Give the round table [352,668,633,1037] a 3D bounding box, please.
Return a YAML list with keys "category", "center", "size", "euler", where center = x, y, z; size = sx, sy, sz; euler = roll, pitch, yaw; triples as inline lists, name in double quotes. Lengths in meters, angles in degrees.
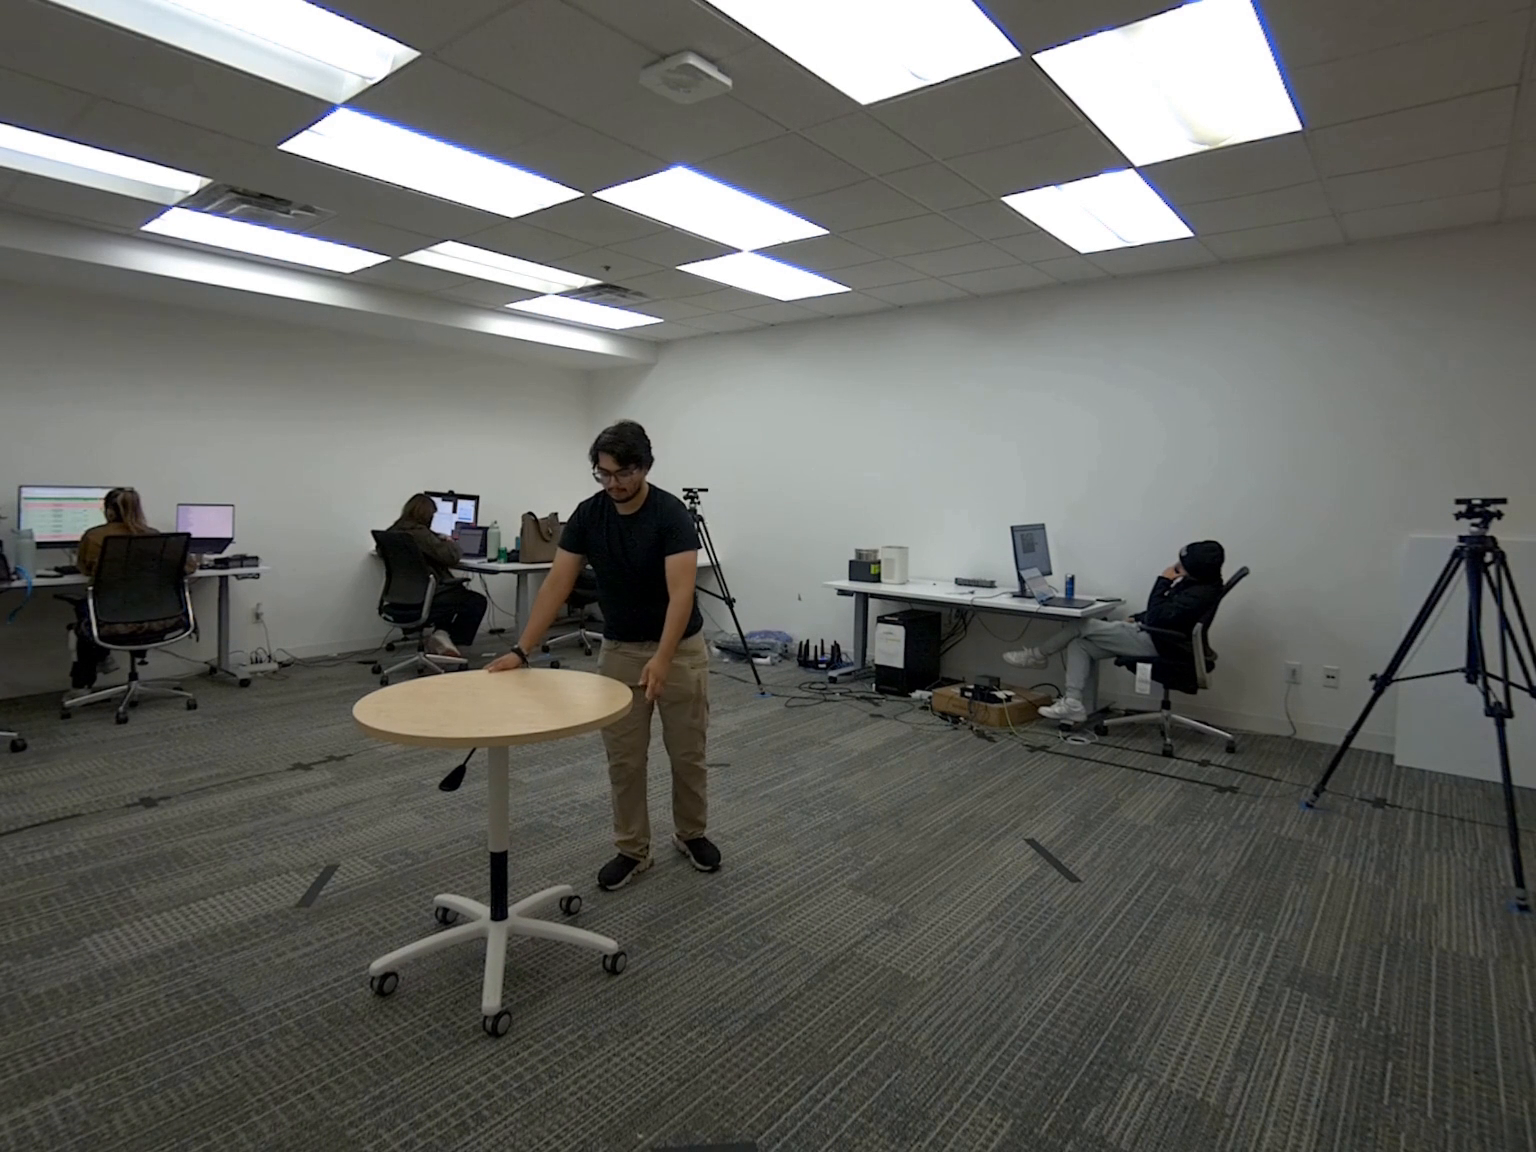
- category: "round table"
  center: [-0.767, 0.730, 2.444]
  size: [0.784, 0.784, 0.789]
  euler: [0, 4, -2]
